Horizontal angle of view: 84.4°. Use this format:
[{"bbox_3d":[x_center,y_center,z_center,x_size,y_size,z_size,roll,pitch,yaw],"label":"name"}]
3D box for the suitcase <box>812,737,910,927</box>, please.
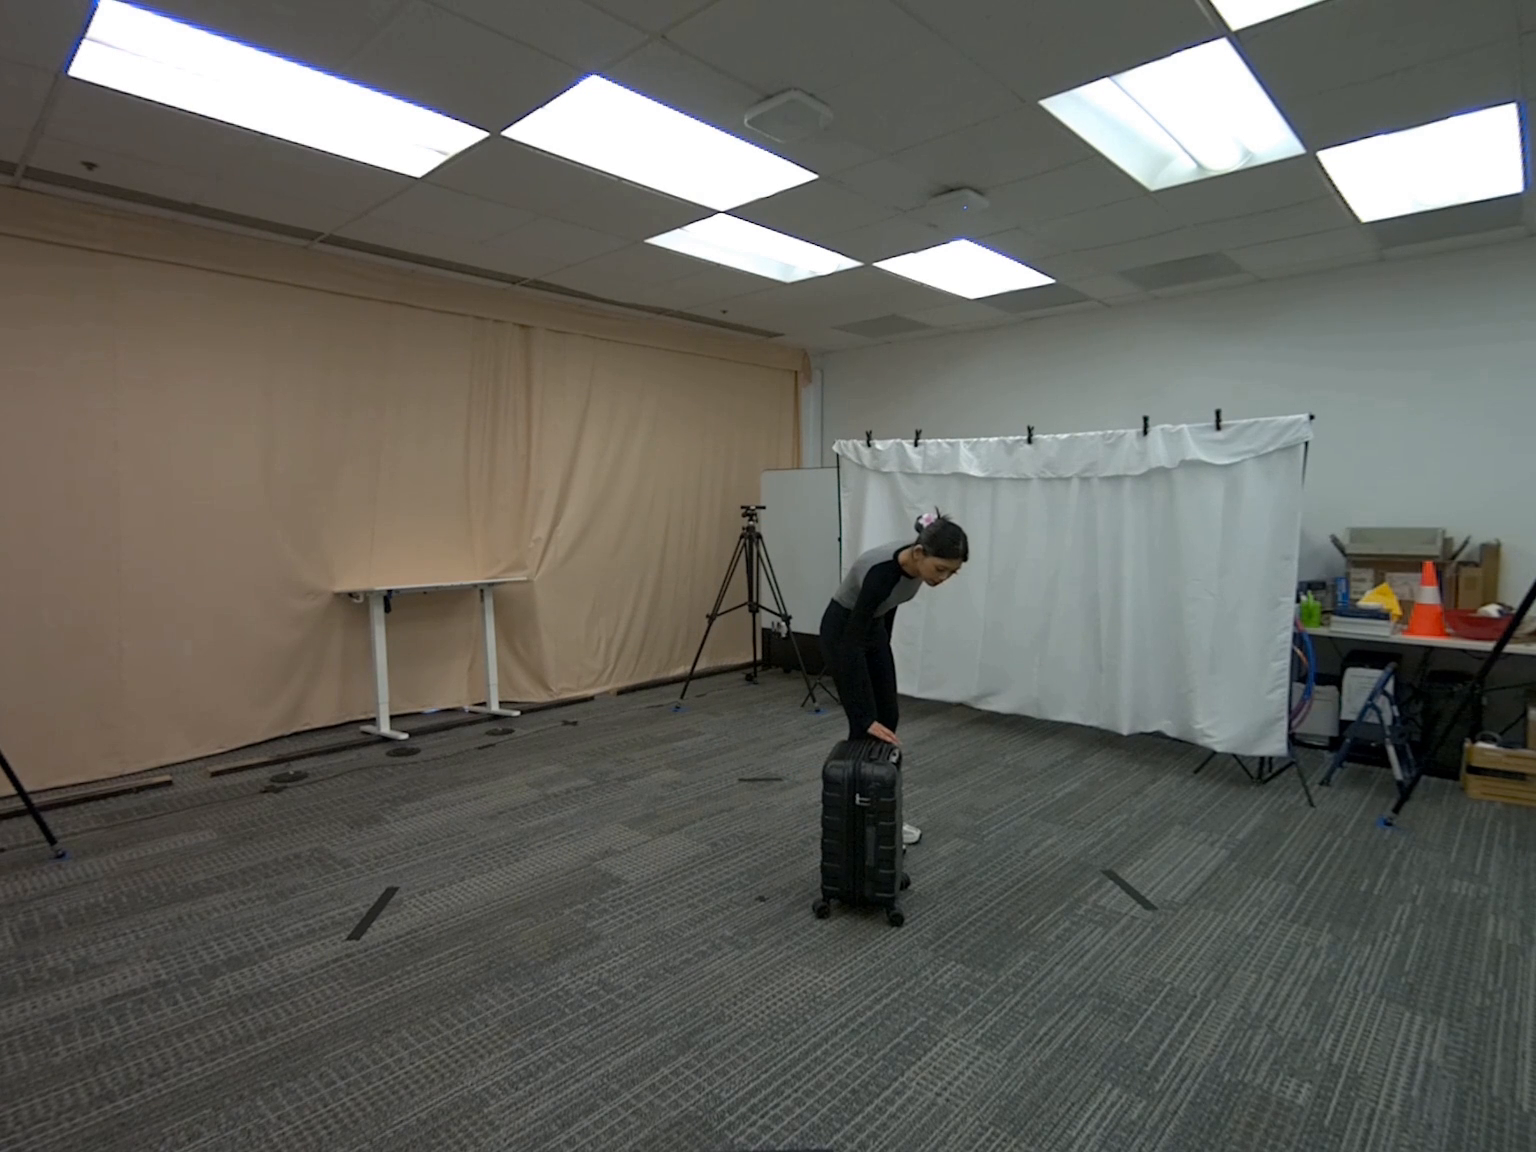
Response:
[{"bbox_3d":[0.337,0.871,2.948,0.253,0.548,0.369,0,4,17],"label":"suitcase"}]
